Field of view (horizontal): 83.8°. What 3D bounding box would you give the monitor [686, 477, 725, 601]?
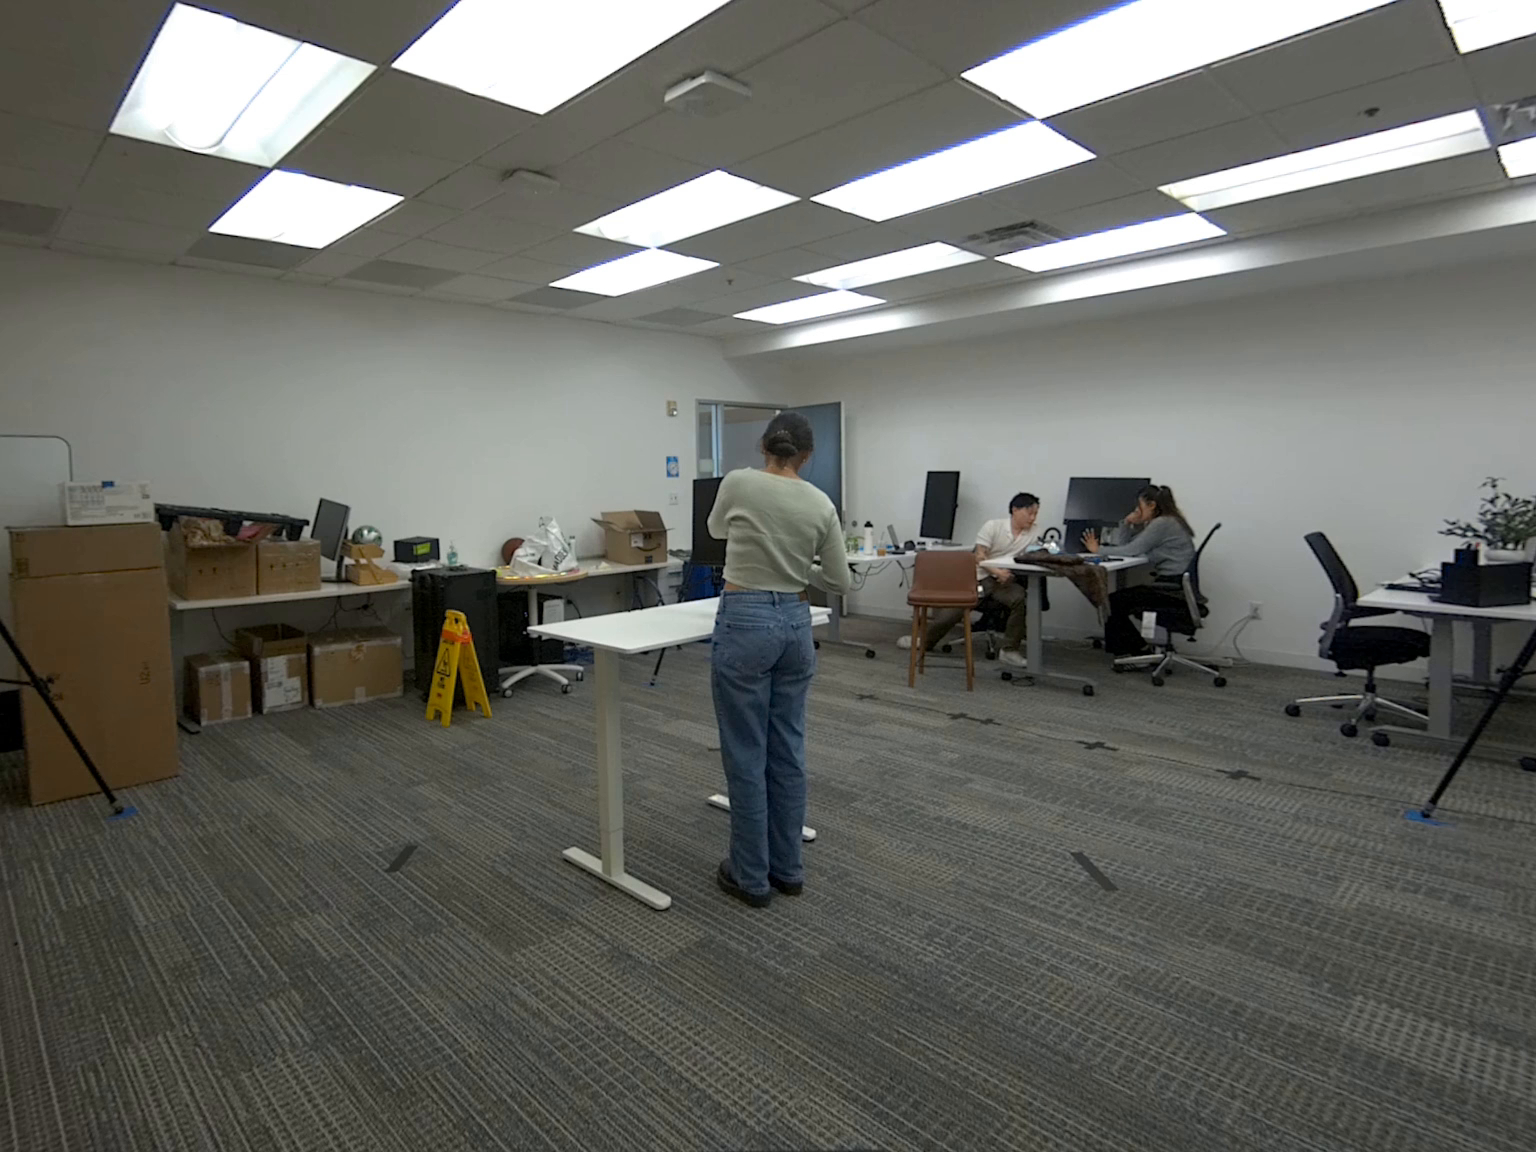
[{"bbox_3d":[-0.066,-0.135,3.332,0.183,0.518,0.555,-18,13,-43],"label":"monitor"}]
